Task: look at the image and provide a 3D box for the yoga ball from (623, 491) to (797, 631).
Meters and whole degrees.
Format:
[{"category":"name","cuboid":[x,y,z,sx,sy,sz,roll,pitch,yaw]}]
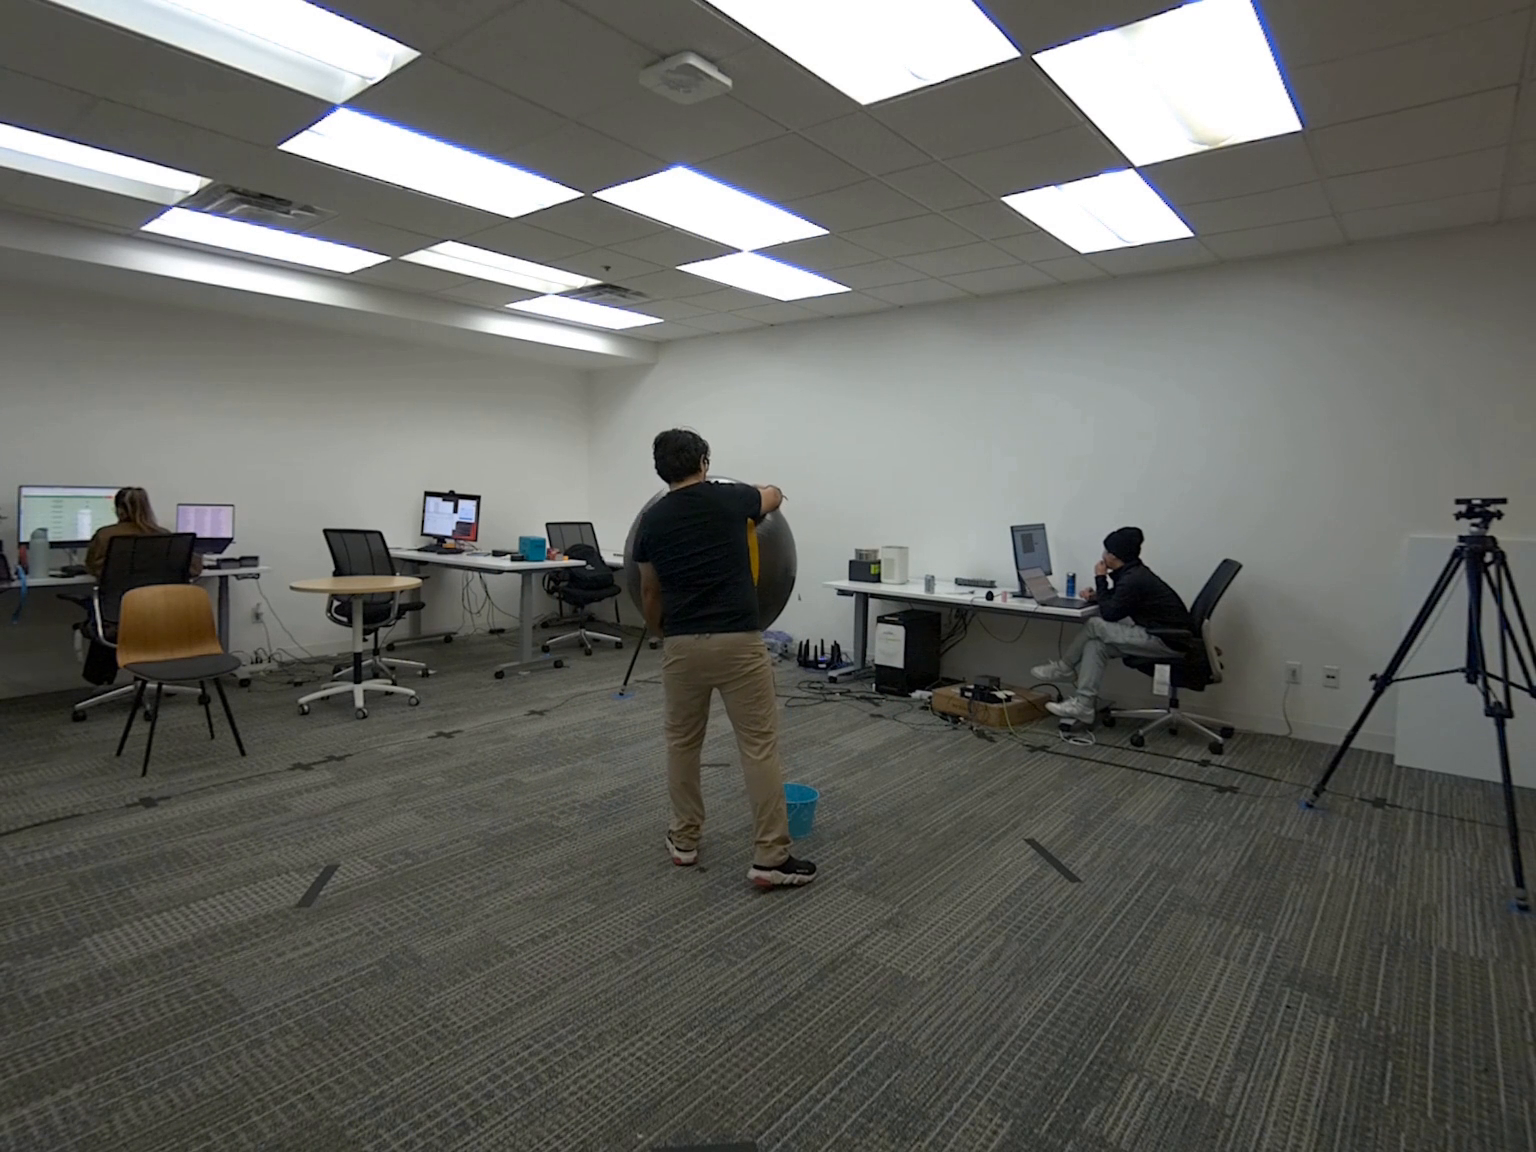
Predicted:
[{"category":"yoga ball","cuboid":[-0.263,-0.055,3.717,0.757,0.755,0.762,1,4,-2]}]
